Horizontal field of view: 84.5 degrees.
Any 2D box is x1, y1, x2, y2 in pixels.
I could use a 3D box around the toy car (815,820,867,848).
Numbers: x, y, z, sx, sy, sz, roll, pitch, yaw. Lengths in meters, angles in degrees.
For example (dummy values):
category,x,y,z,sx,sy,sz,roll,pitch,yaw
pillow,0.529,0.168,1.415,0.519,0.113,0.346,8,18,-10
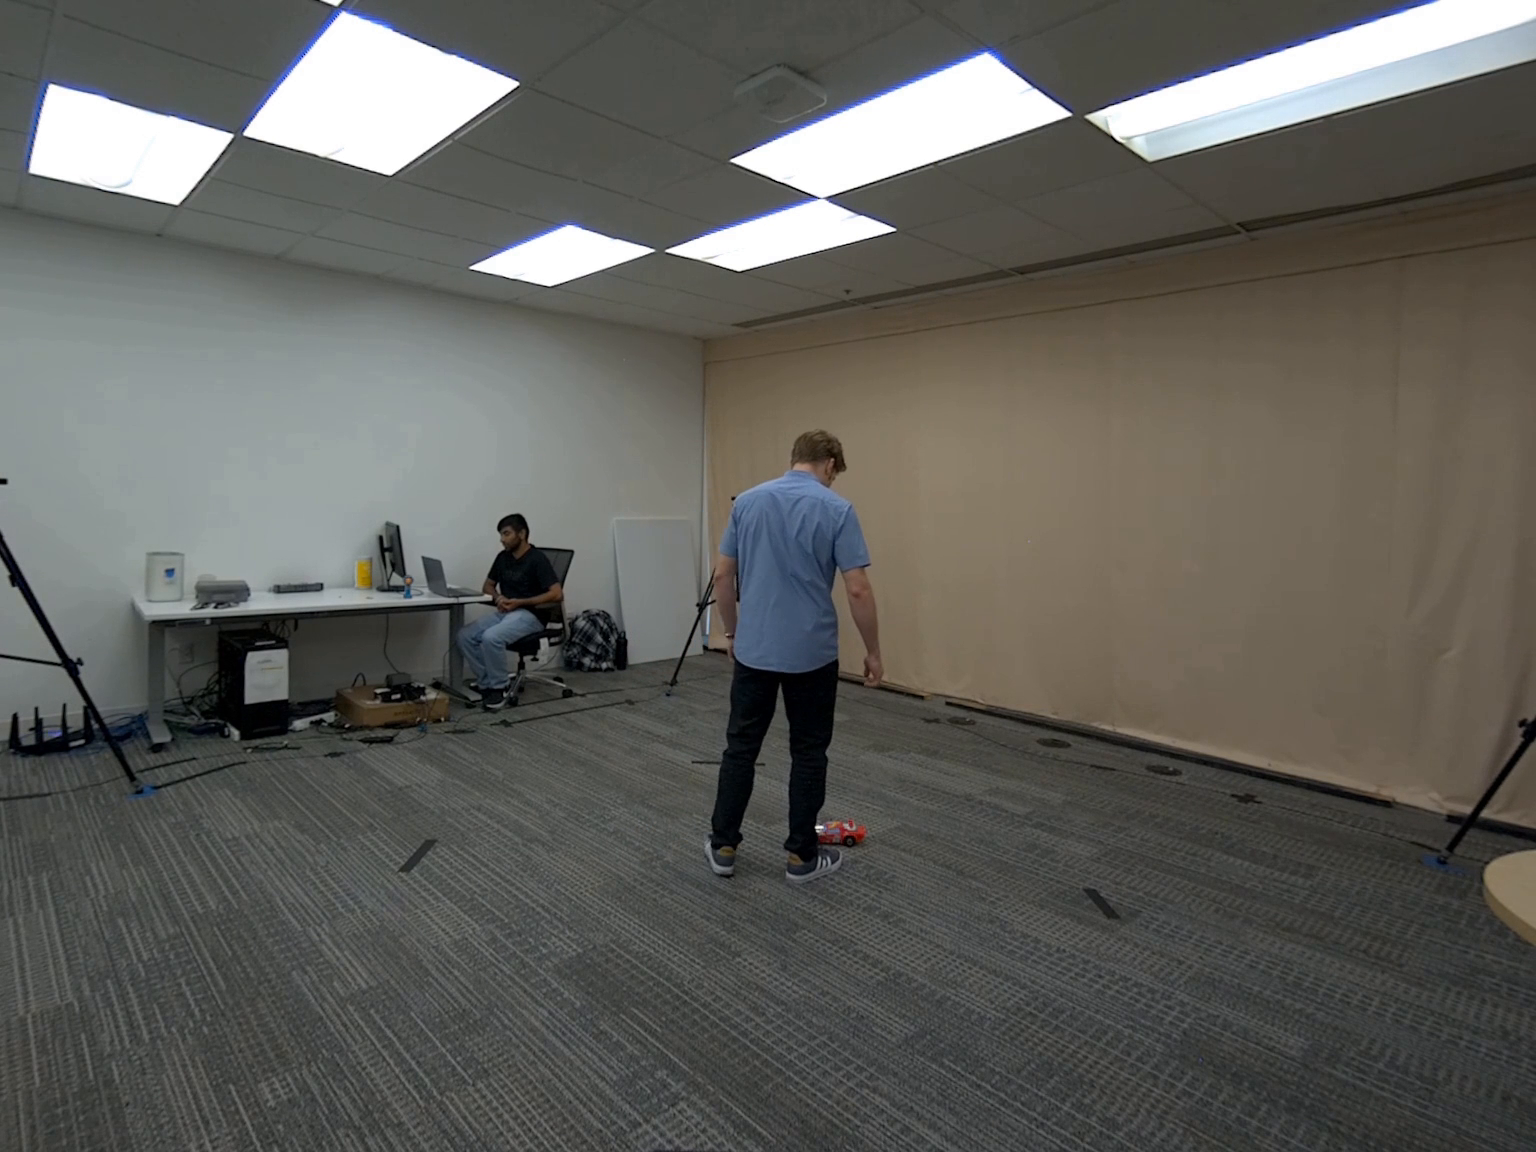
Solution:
category,x,y,z,sx,sy,sz,roll,pitch,yaw
toy car,0.271,1.055,3.442,0.255,0.083,0.131,-10,5,1
